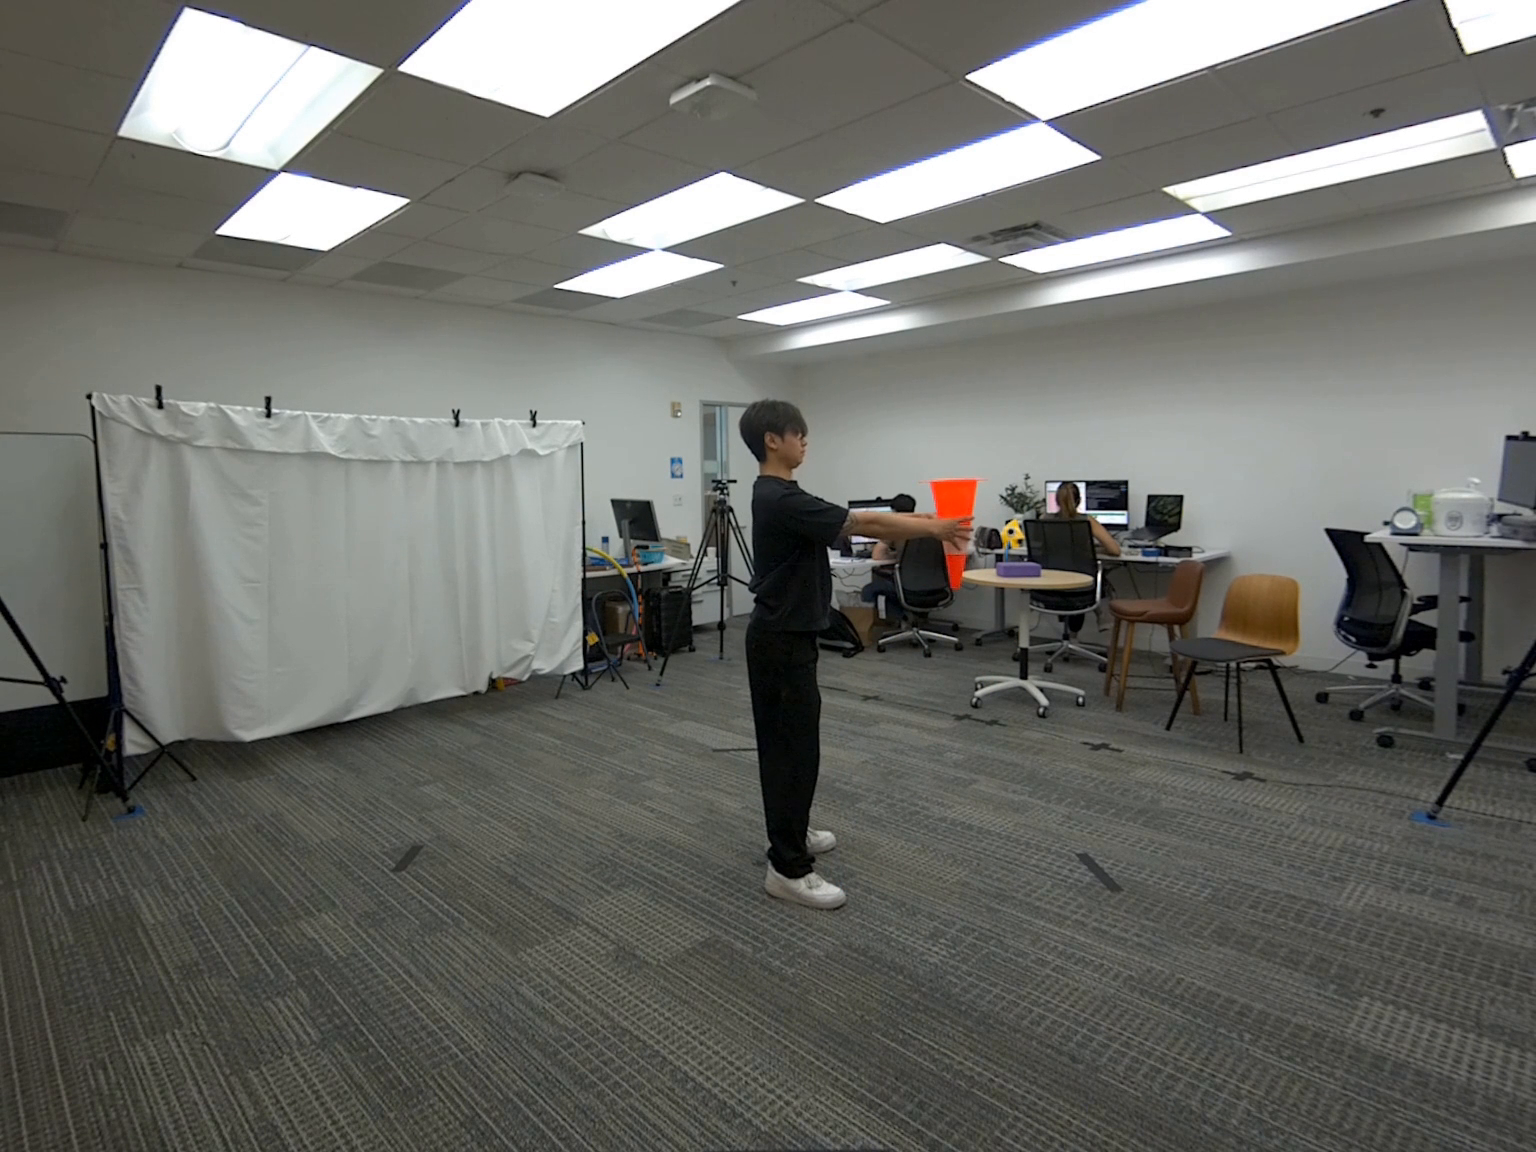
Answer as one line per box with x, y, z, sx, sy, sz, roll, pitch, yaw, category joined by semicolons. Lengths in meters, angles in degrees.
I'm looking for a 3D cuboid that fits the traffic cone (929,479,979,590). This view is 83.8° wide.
0.659;-0.140;2.972;0.204;0.382;0.205;-5;4;2;traffic cone
